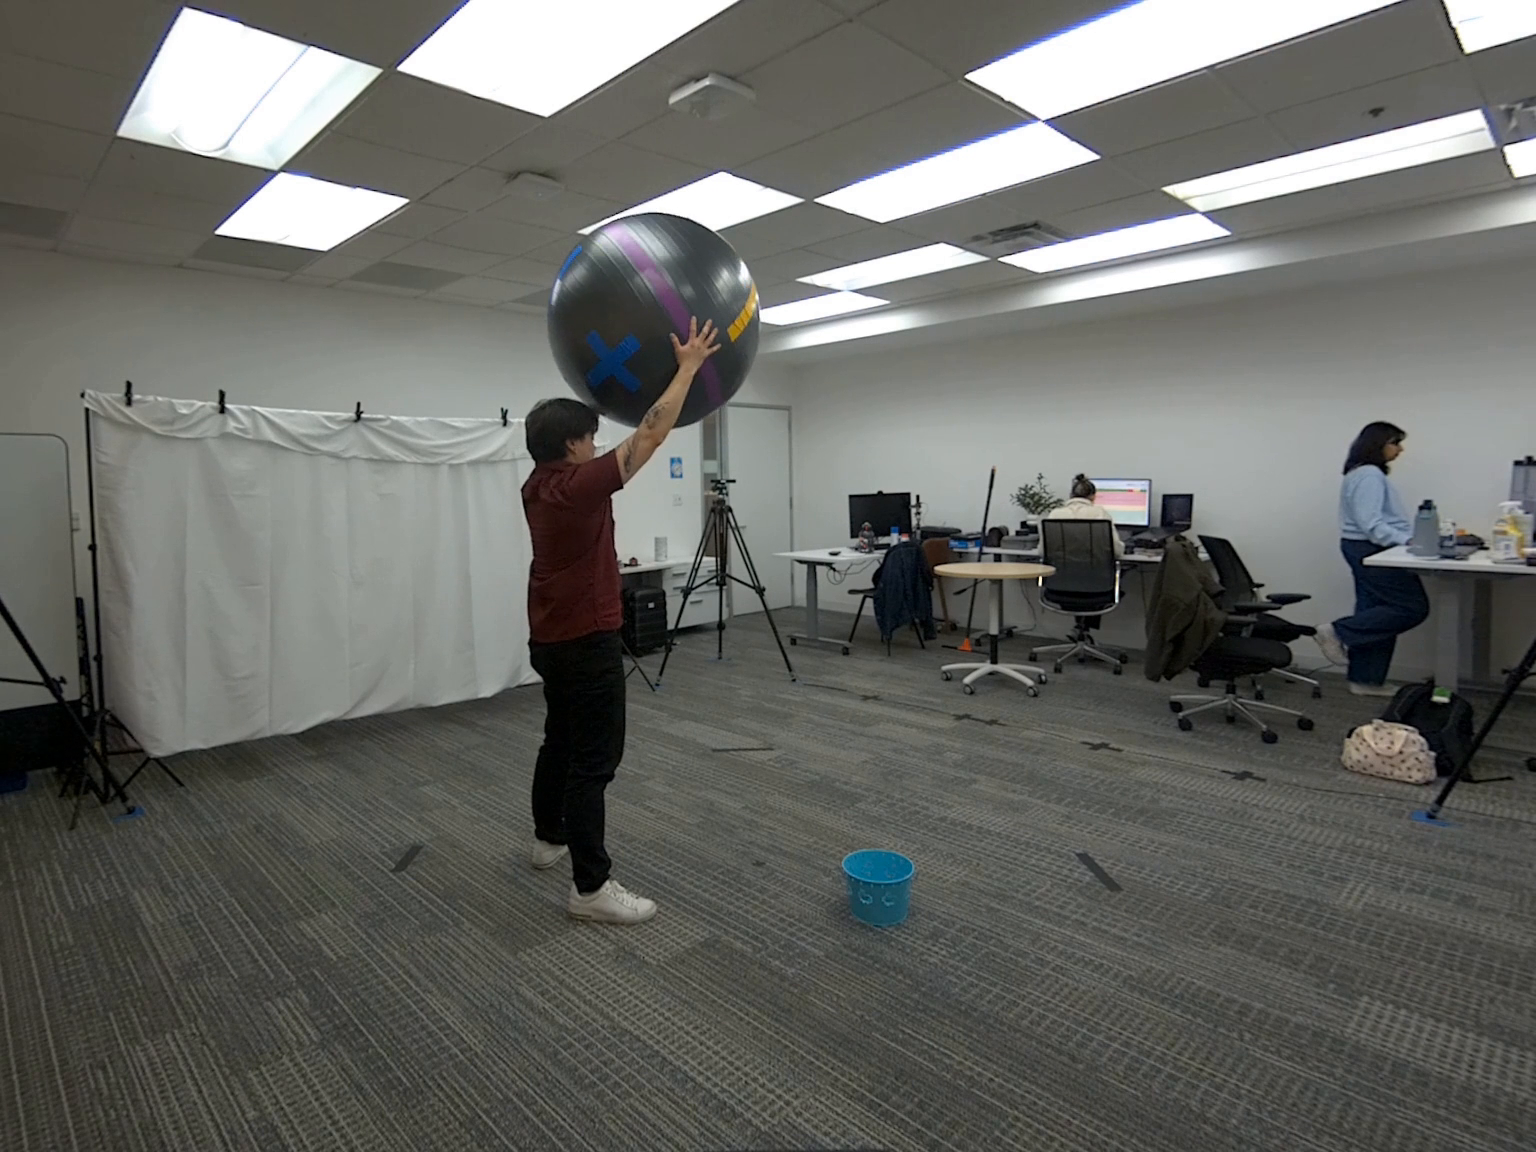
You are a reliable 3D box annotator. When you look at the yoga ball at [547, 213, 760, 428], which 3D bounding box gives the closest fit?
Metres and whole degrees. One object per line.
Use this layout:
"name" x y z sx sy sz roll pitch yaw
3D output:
"yoga ball" -0.399 -0.893 3.063 0.757 0.755 0.762 -1 5 -2
